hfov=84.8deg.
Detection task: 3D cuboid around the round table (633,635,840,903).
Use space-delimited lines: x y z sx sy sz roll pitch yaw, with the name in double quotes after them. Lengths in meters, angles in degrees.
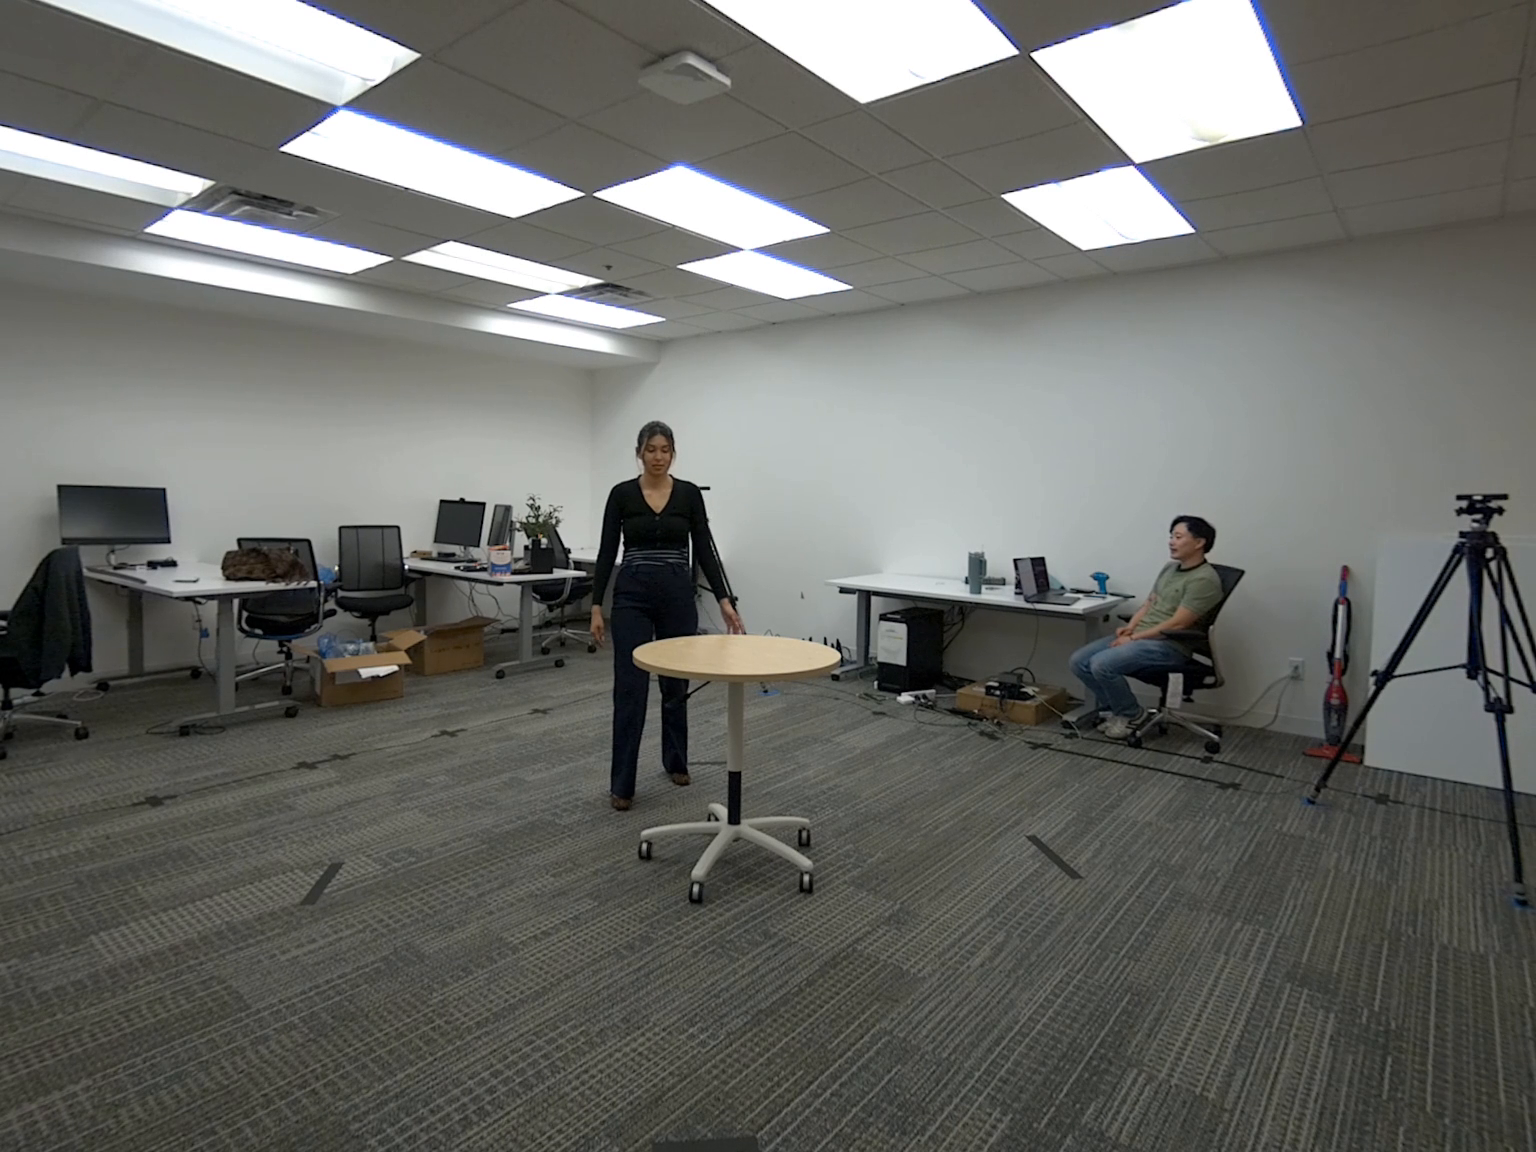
-0.134 0.672 3.162 0.763 0.791 0.768 1 4 -2 "round table"
